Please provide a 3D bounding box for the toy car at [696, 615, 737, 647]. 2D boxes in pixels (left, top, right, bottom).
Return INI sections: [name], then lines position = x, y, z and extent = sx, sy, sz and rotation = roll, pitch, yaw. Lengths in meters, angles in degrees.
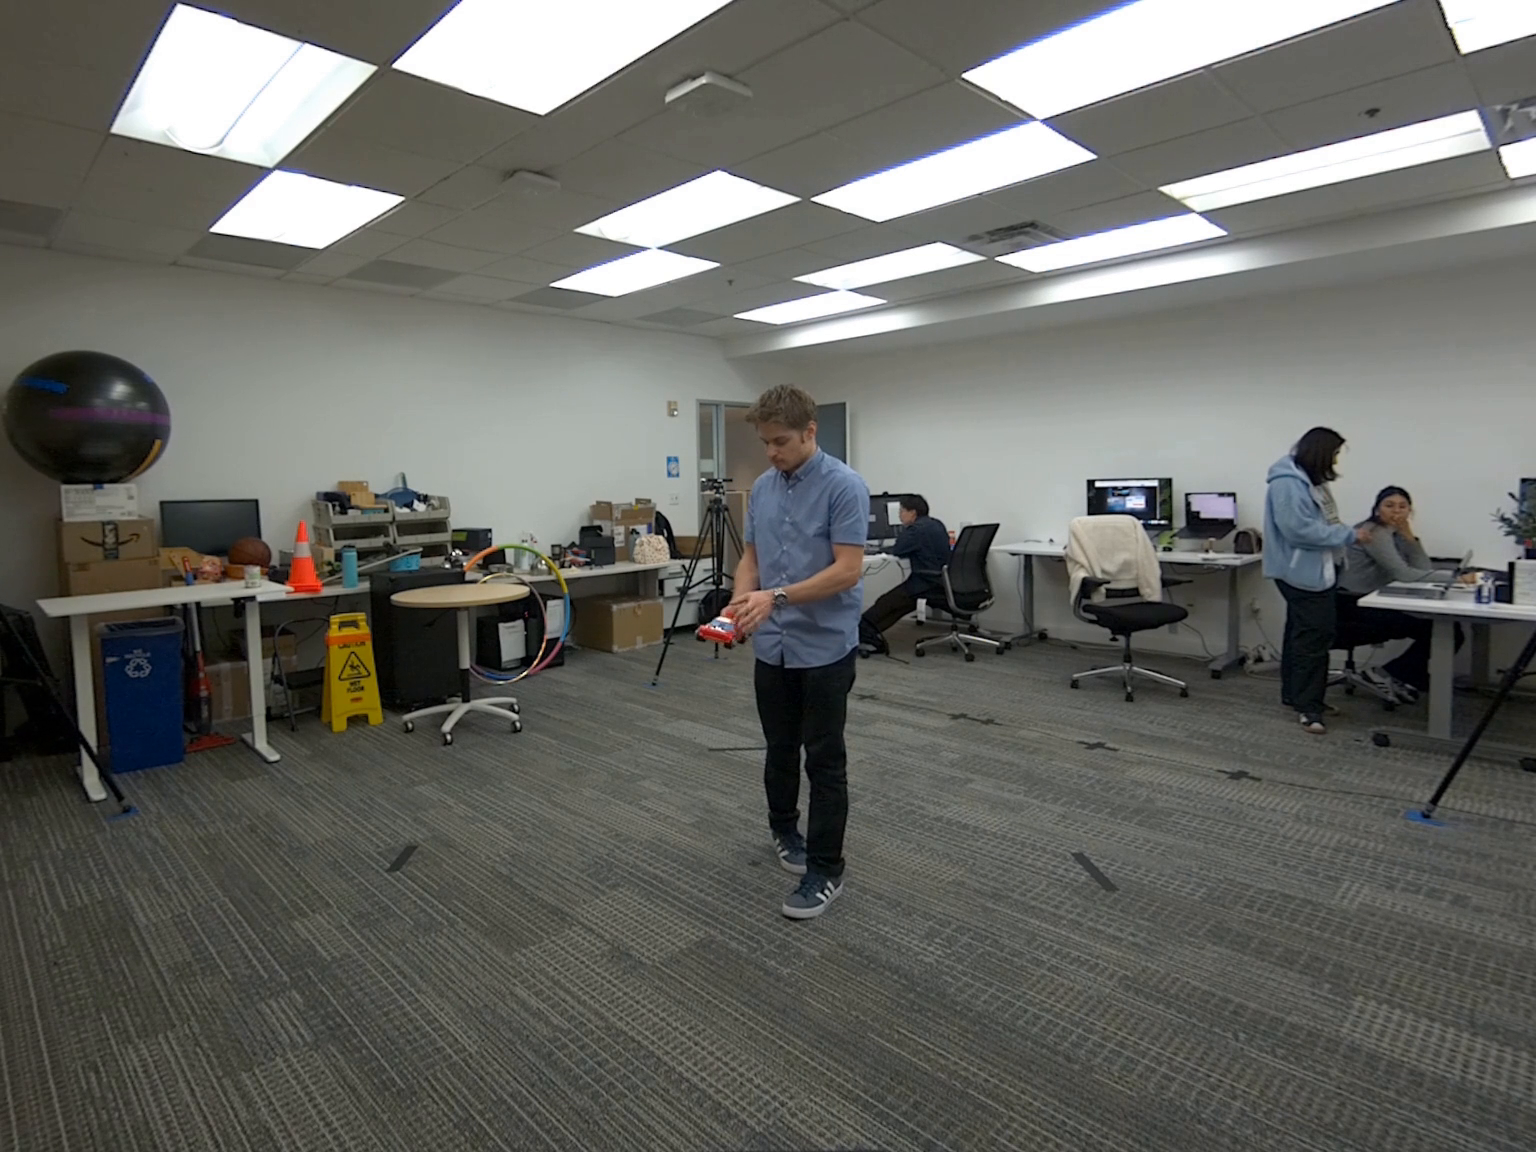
[toy car]
position = -0.122, 0.169, 2.644
extent = 0.132, 0.082, 0.253
rotation = 10, 14, 11
